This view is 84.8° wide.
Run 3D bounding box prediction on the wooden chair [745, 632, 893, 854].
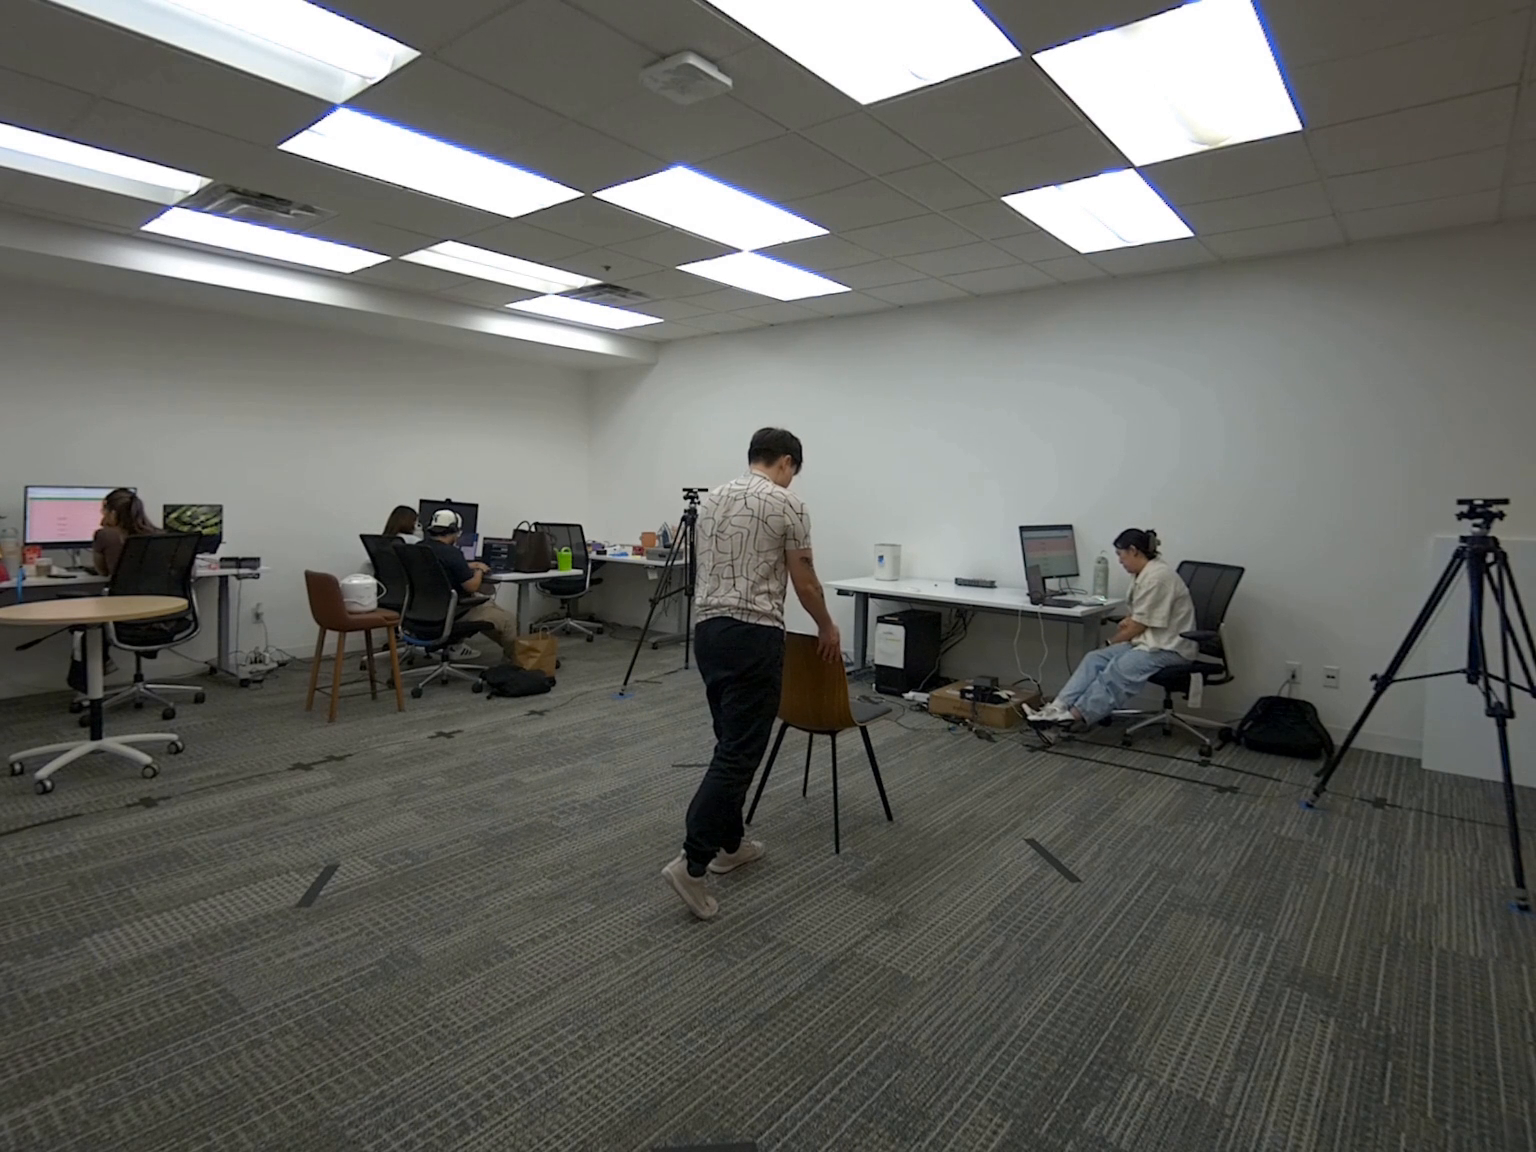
[{"bbox_3d":[0.221,0.605,3.557,0.494,0.872,0.510,3,8,37],"label":"wooden chair"}]
